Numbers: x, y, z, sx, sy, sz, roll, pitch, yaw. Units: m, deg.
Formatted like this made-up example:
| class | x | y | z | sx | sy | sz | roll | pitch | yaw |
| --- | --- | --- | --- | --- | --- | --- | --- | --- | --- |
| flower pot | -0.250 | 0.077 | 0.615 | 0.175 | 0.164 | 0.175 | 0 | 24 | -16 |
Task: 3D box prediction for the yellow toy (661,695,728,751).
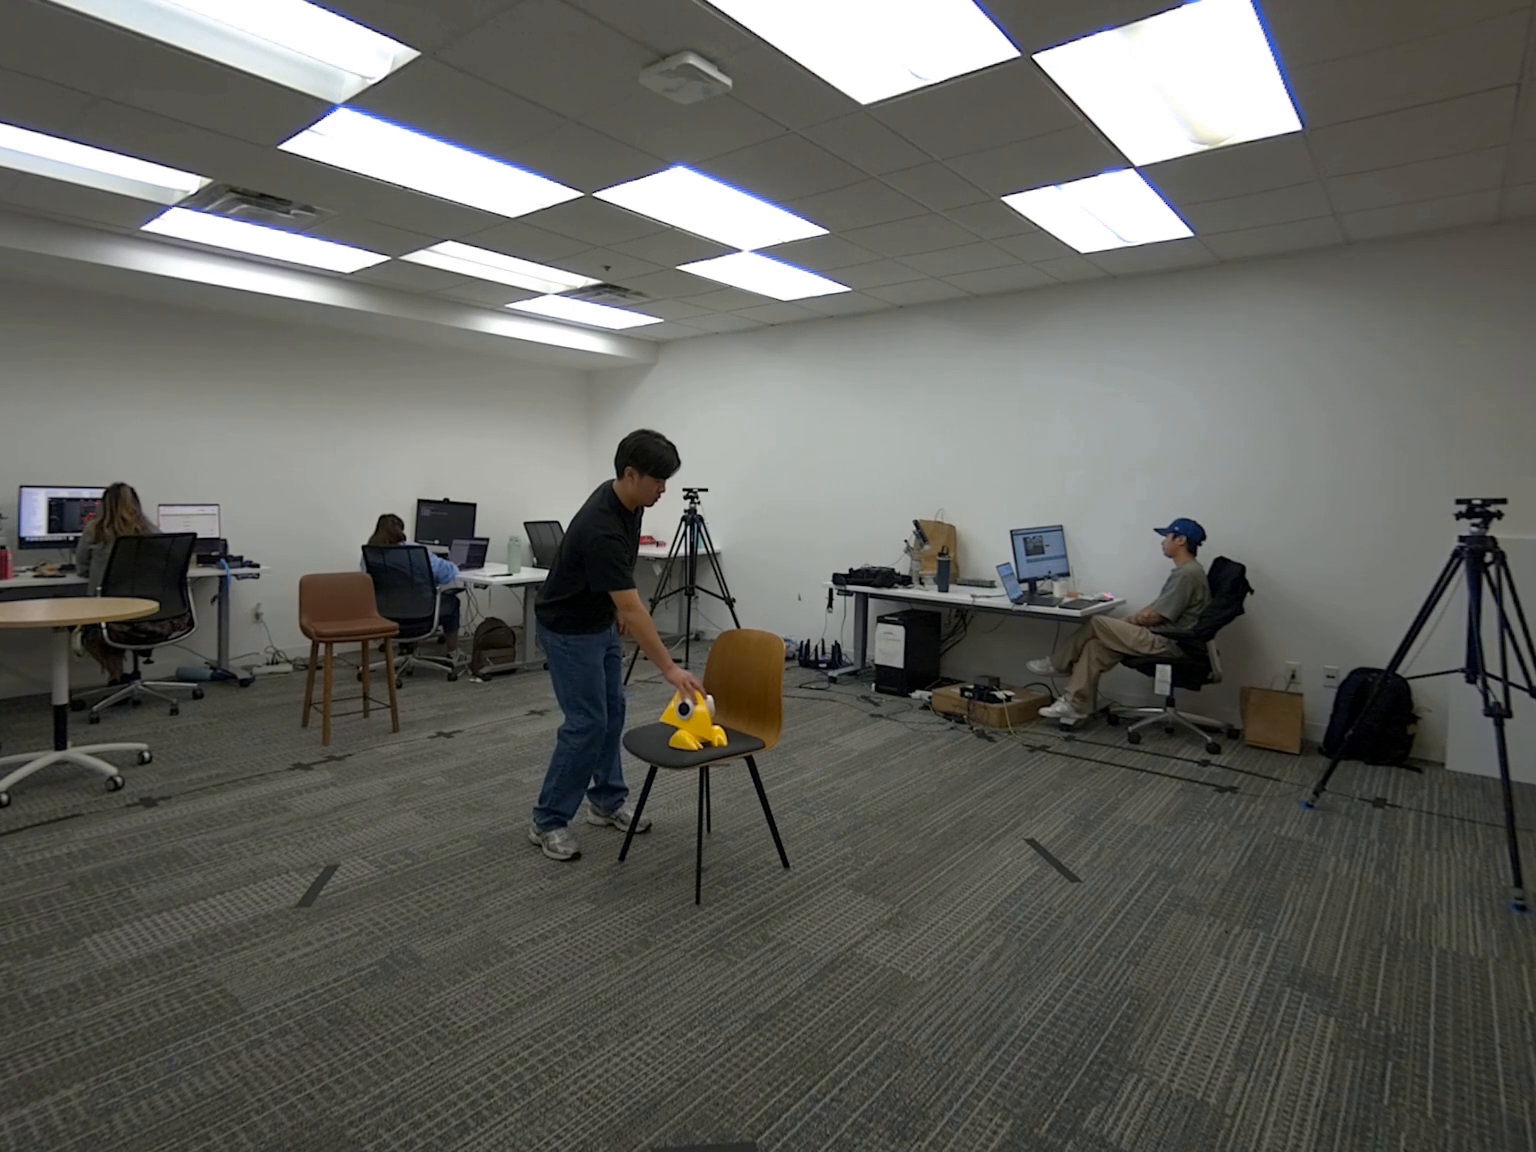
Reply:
| class | x | y | z | sx | sy | sz | roll | pitch | yaw |
| --- | --- | --- | --- | --- | --- | --- | --- | --- | --- |
| yellow toy | -0.263 | 0.482 | 3.042 | 0.198 | 0.231 | 0.199 | 2 | -2 | -37 |
